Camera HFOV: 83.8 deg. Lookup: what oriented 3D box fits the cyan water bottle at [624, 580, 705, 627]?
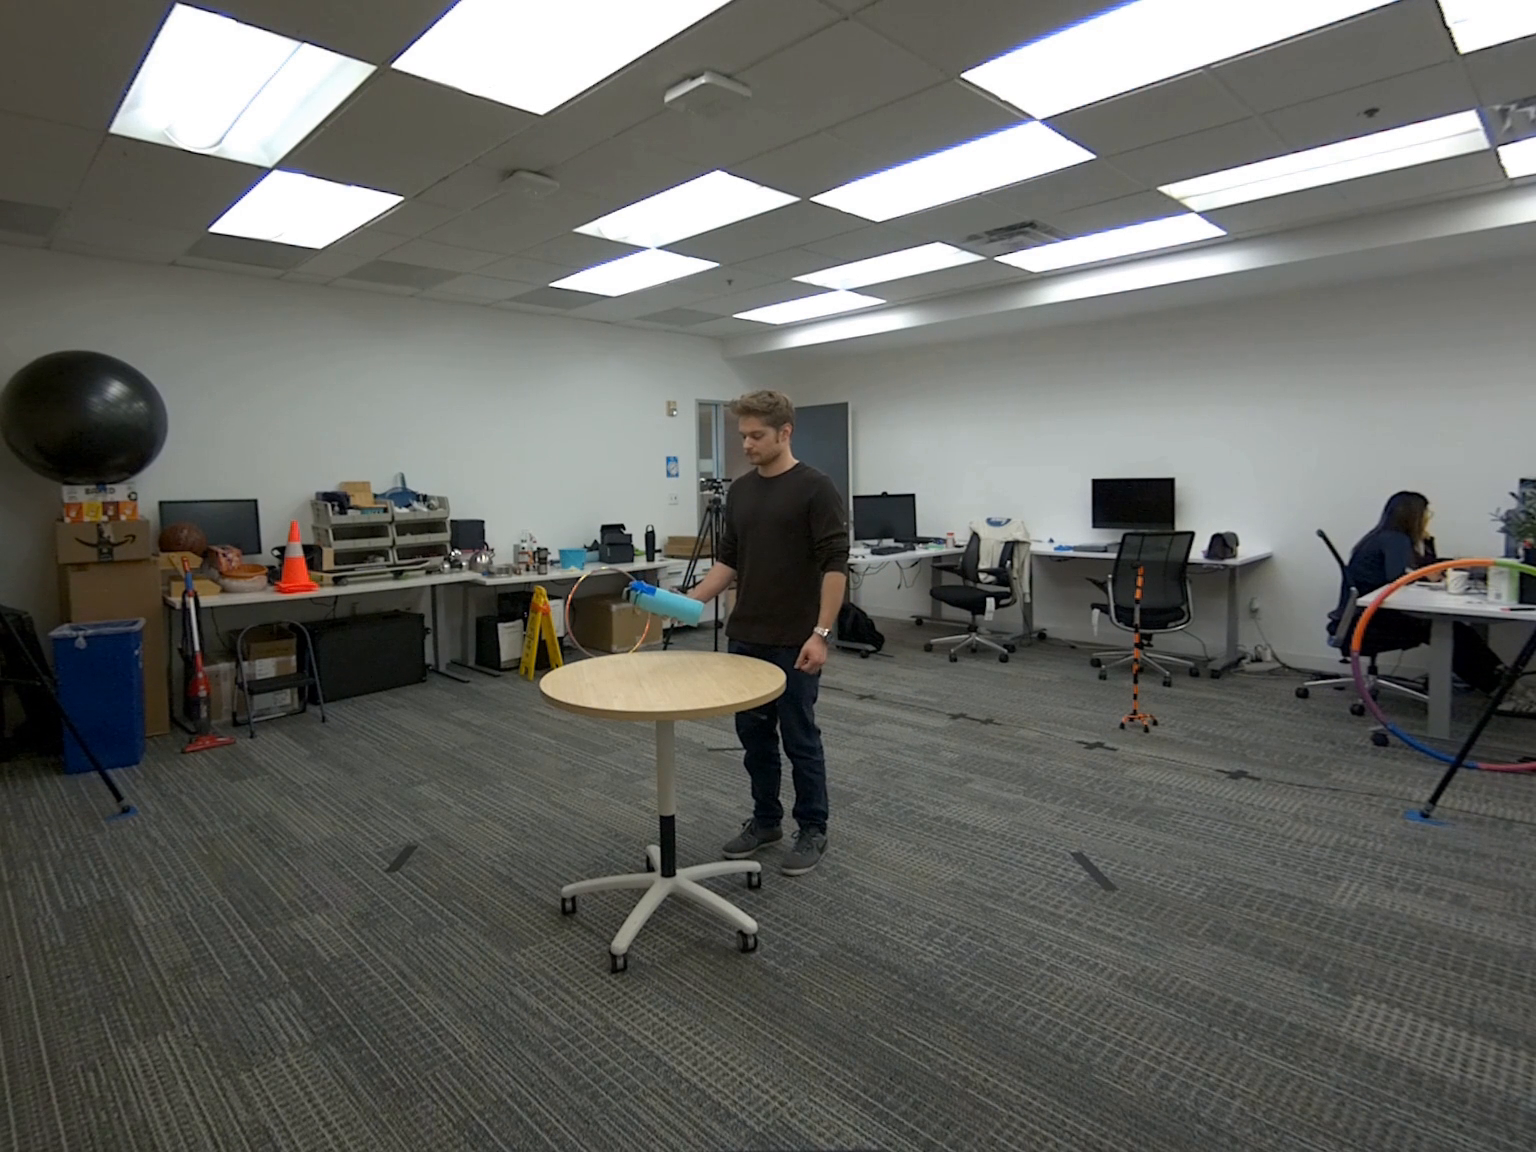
[{"bbox_3d":[-0.375,0.088,3.019,0.281,0.092,0.093,19,2,-6],"label":"cyan water bottle"}]
